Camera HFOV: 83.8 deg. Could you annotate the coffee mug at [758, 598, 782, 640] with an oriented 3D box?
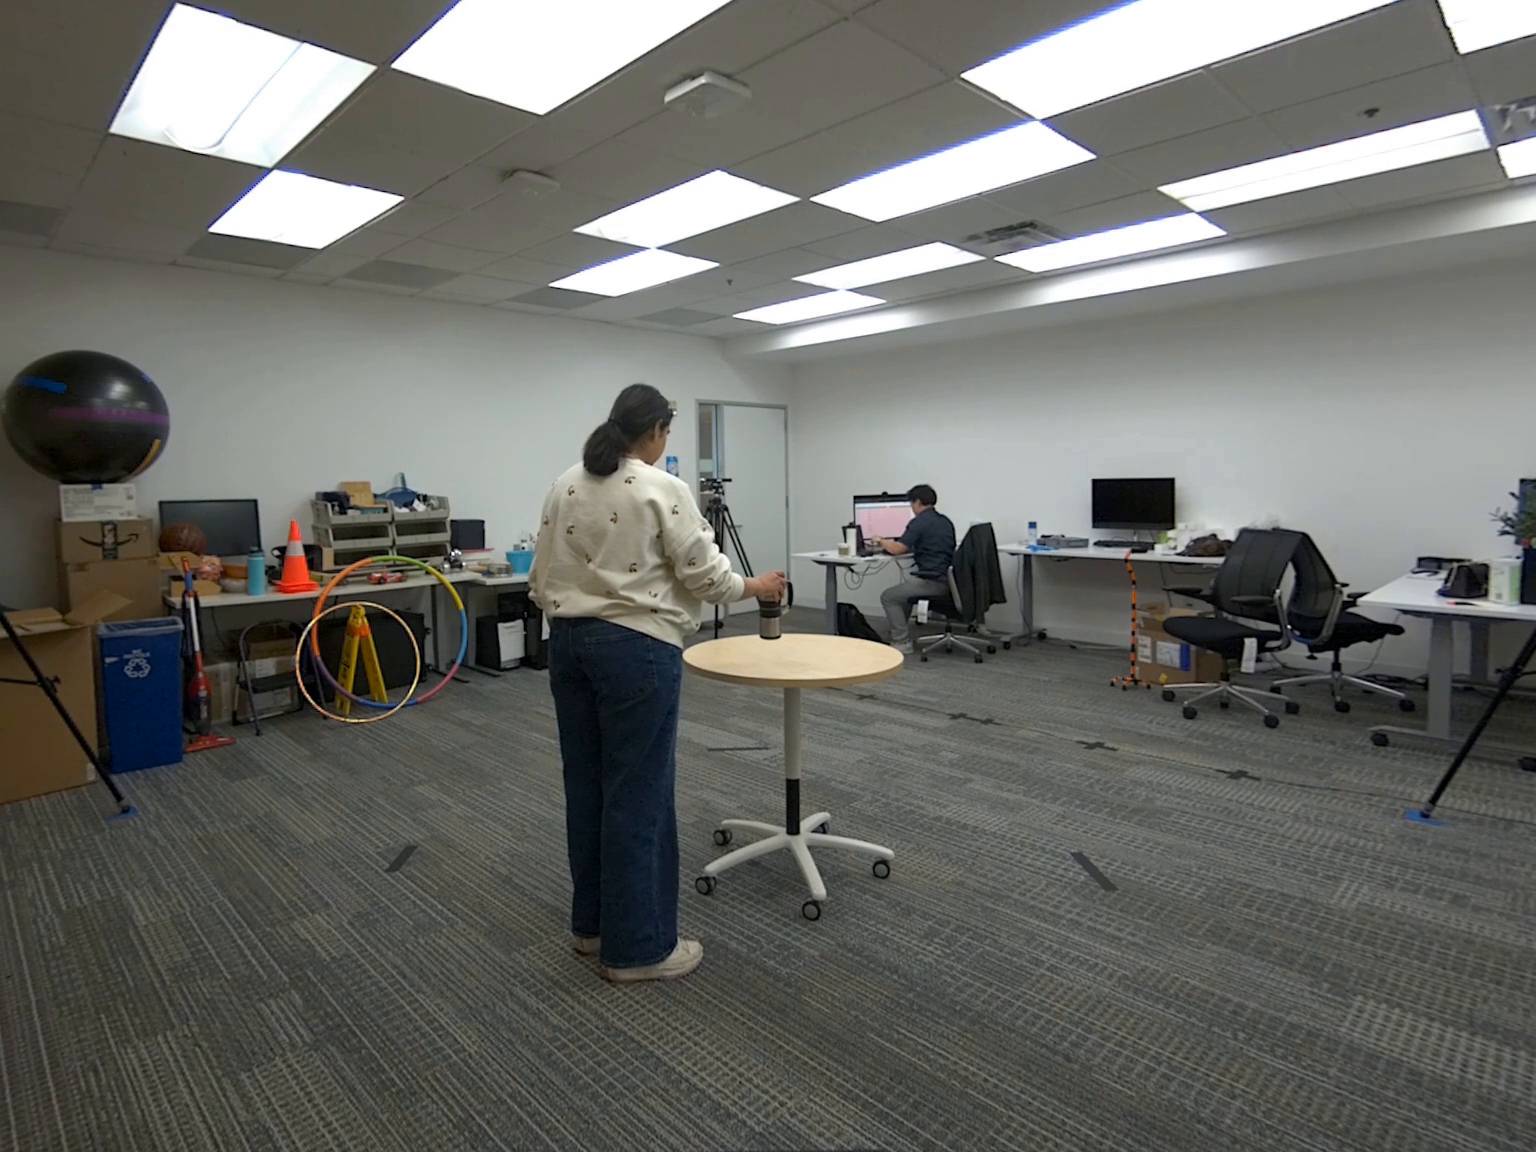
[{"bbox_3d":[0.028,0.108,2.784,0.125,0.202,0.086,1,4,37],"label":"coffee mug"}]
